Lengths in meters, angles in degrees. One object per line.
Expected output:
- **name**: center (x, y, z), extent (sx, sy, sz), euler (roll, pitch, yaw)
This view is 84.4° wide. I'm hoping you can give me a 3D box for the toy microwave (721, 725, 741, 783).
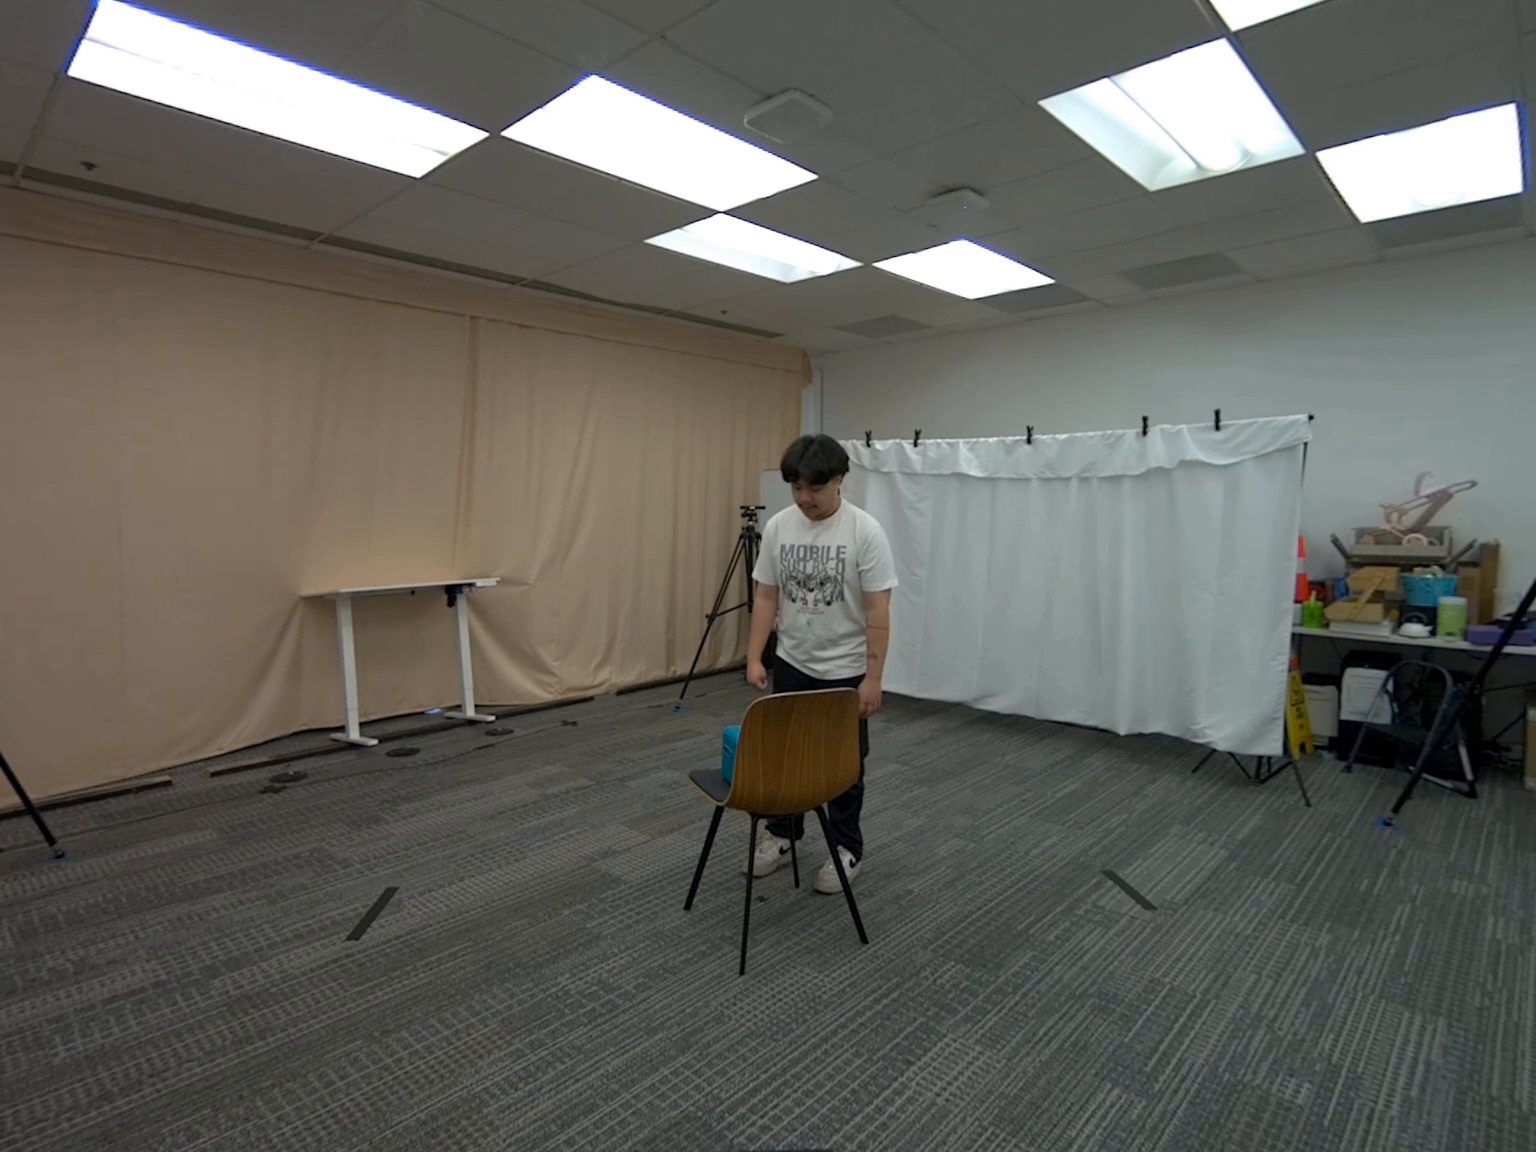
- **toy microwave**: center (0.000, 0.592, 2.773), extent (0.281, 0.183, 0.156), euler (-1, 8, -18)
